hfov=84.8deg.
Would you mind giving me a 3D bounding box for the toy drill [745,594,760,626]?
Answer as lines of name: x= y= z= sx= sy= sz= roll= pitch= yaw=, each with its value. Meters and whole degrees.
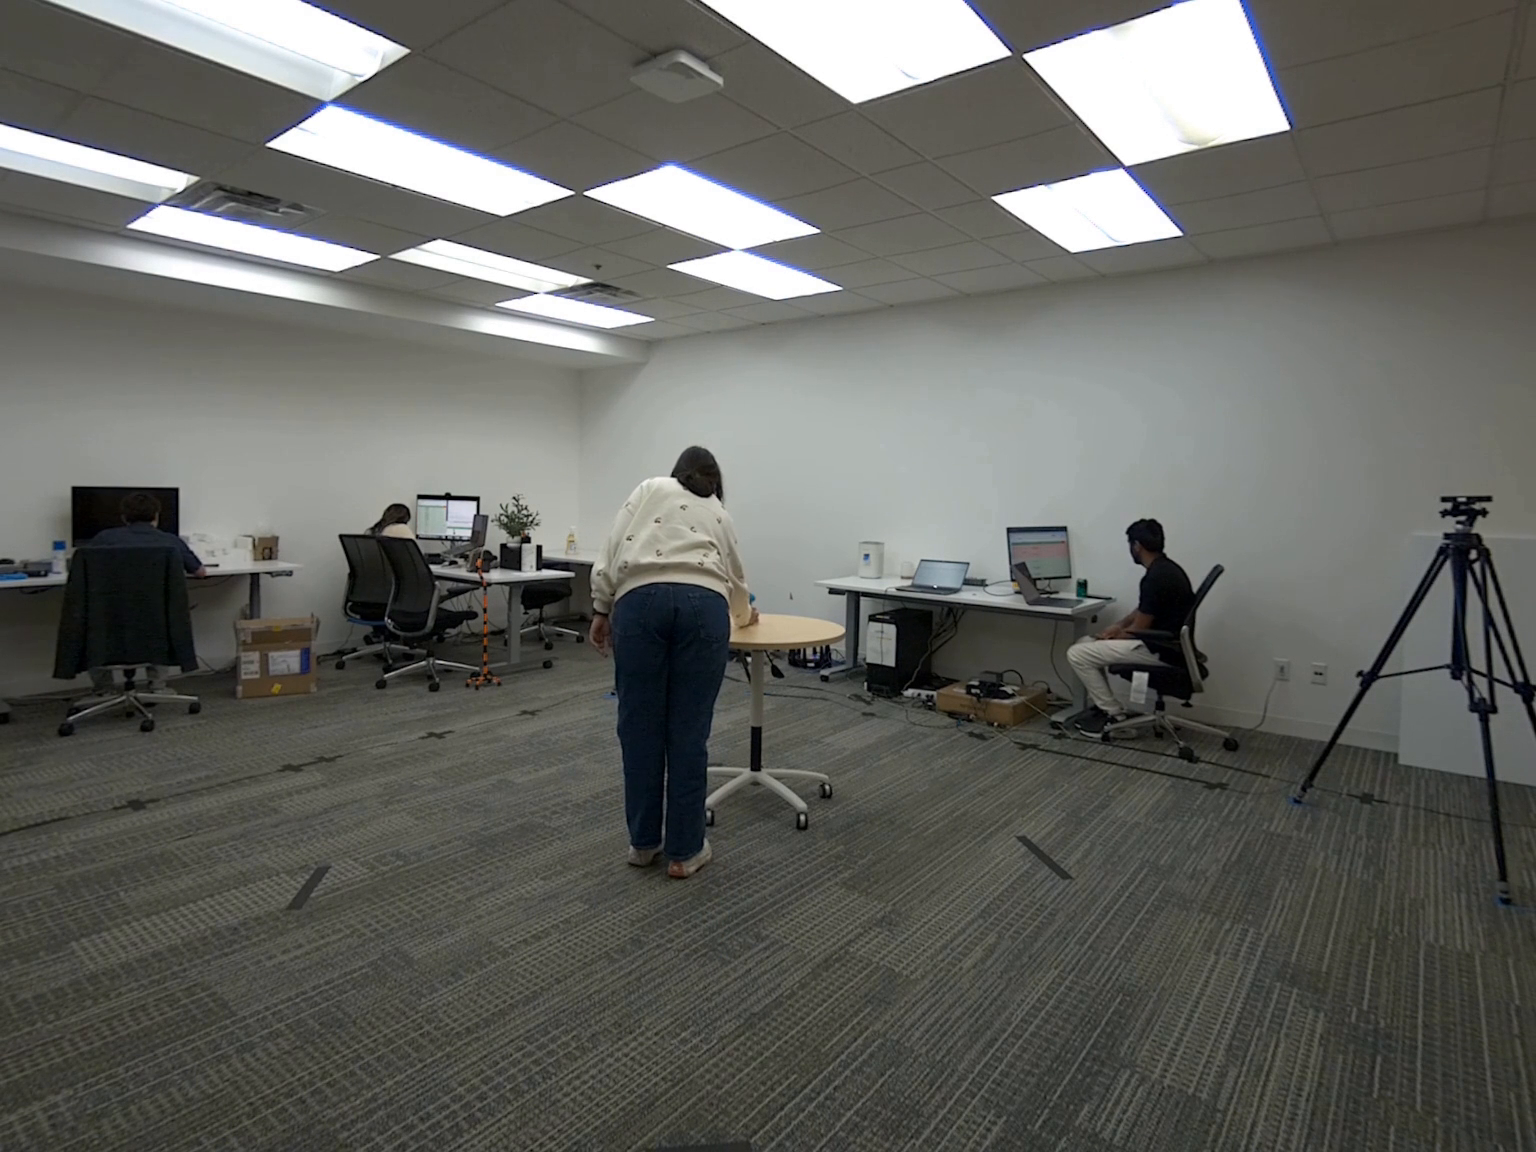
toy drill: x=-0.127 y=0.142 z=3.816 sx=0.063 sy=0.145 sz=0.165 roll=8 pitch=9 yaw=41
